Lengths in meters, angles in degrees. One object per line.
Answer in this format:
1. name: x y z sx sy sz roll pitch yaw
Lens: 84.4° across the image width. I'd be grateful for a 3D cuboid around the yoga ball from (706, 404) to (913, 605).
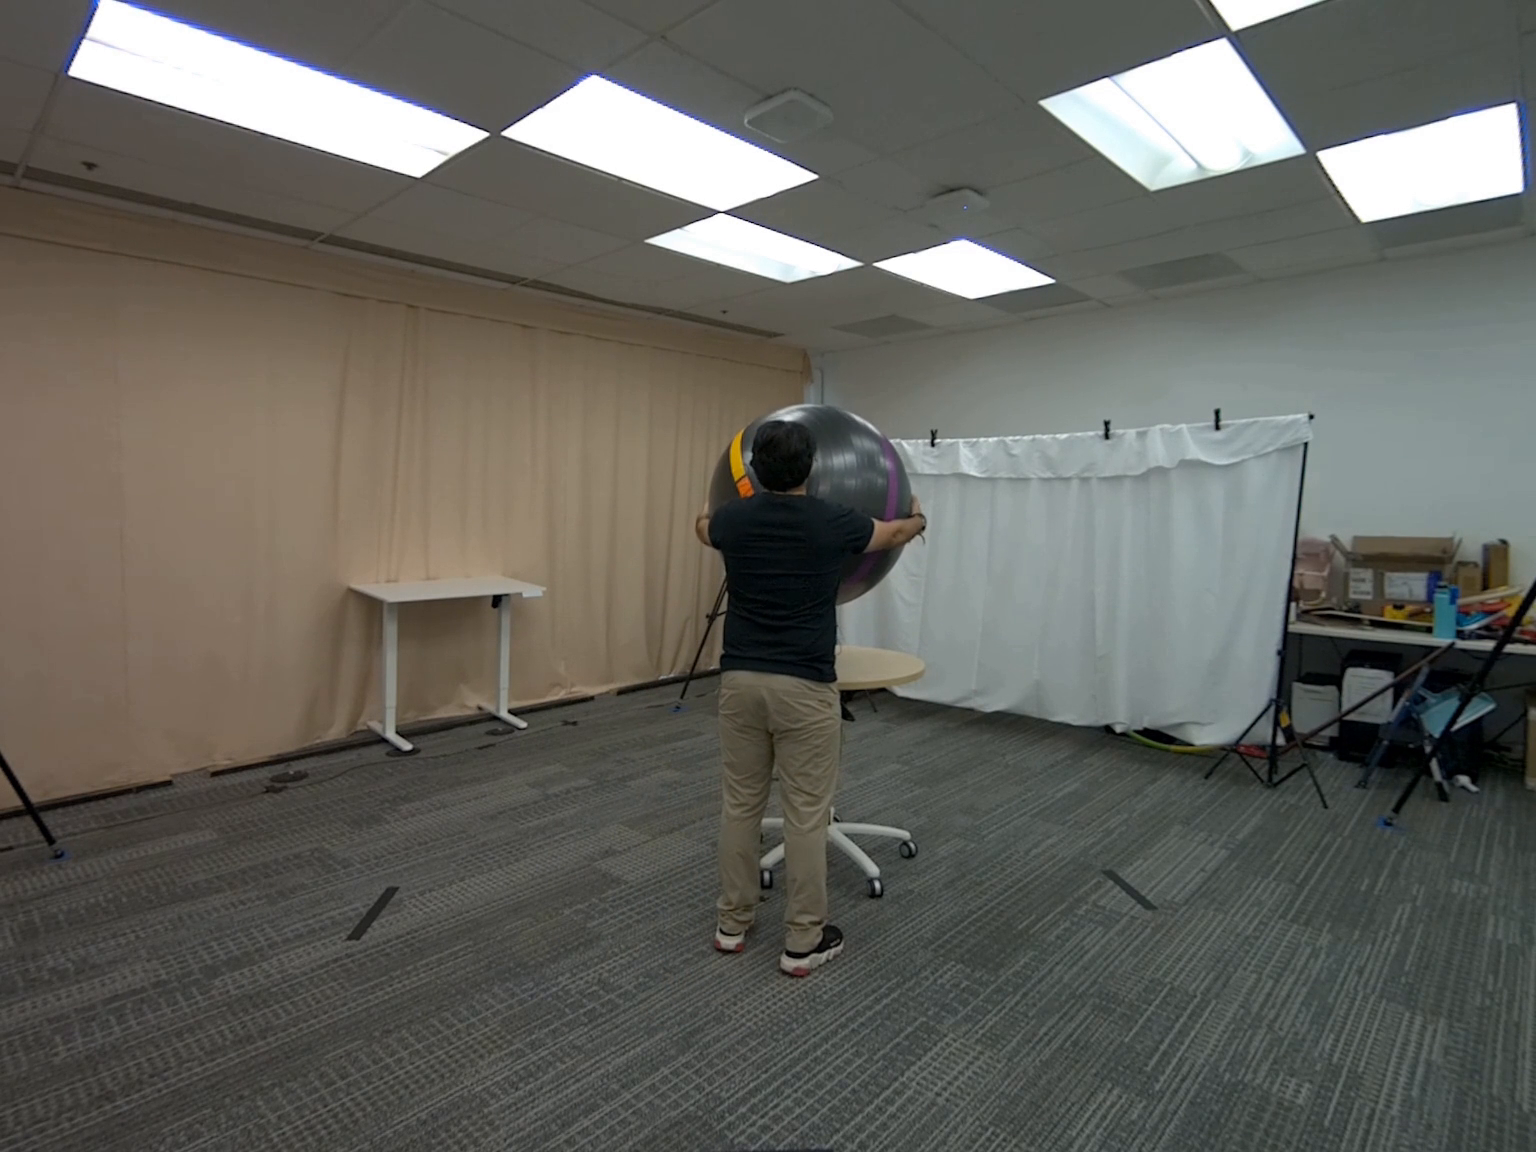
1. yoga ball: 0.155 -0.248 3.137 0.757 0.756 0.760 0 4 -2
